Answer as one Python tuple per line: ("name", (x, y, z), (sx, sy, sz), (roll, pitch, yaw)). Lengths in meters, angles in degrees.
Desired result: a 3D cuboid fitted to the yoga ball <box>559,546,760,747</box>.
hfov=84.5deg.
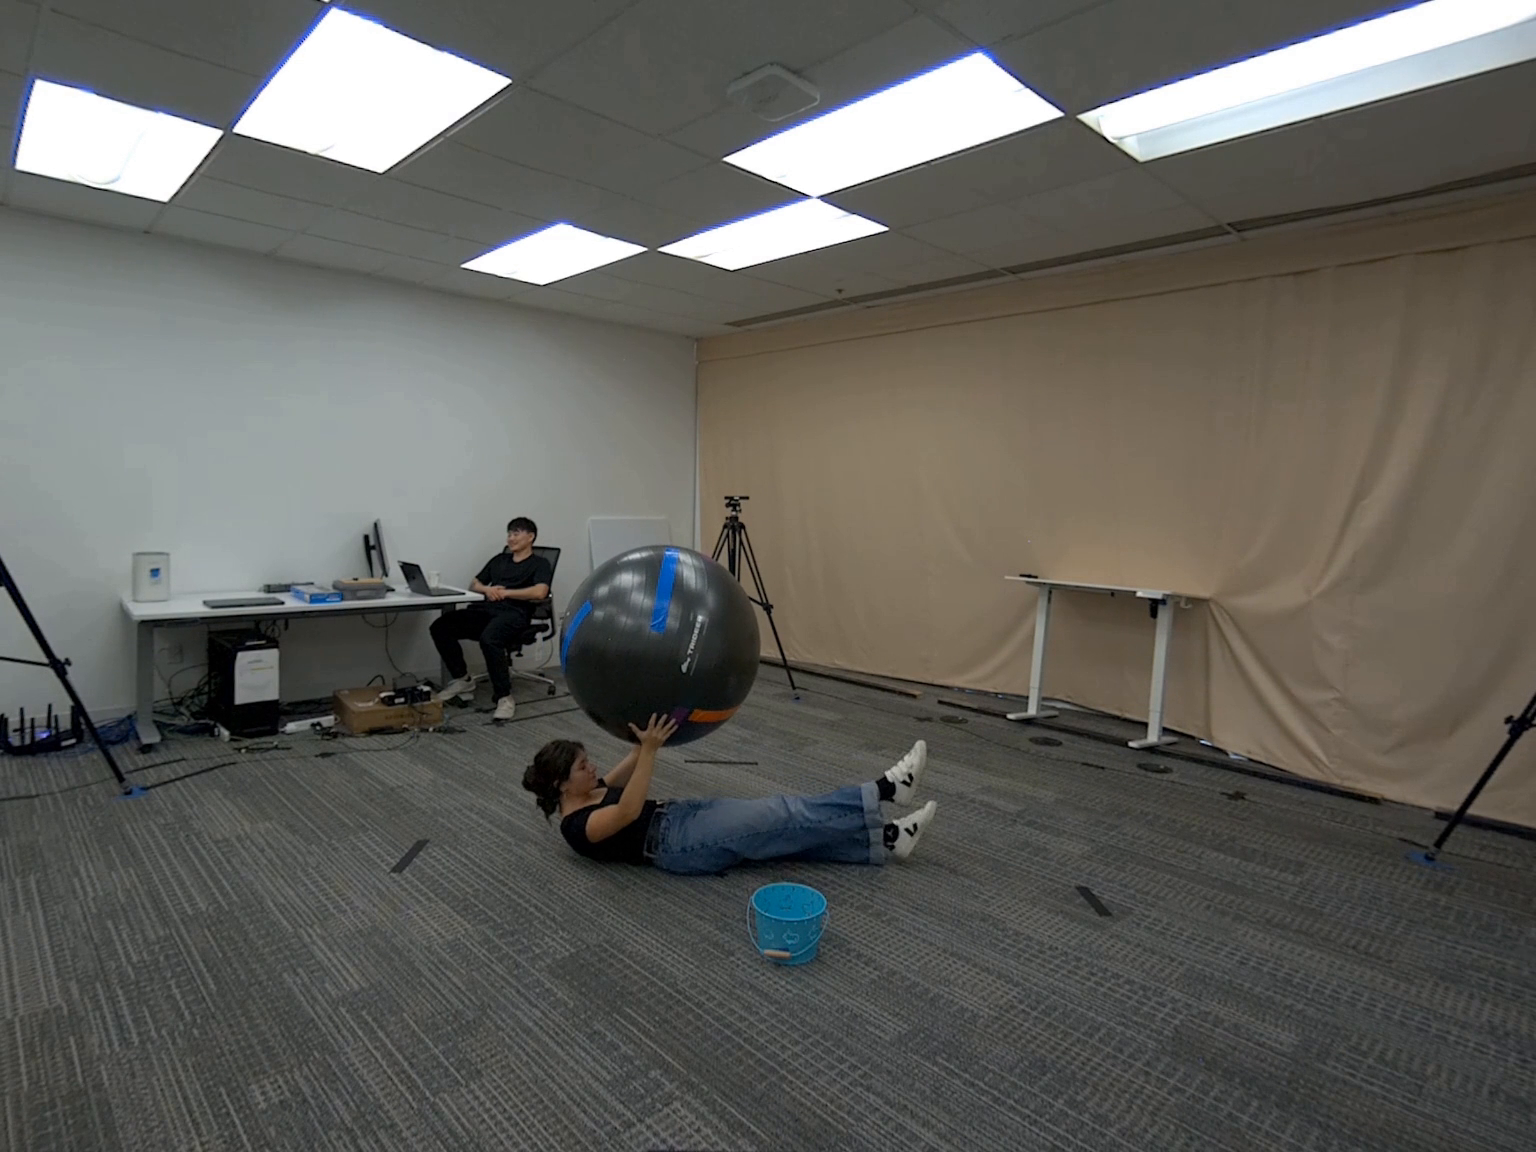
("yoga ball", (-0.413, 0.263, 3.195), (0.757, 0.756, 0.761), (1, 4, -1))
